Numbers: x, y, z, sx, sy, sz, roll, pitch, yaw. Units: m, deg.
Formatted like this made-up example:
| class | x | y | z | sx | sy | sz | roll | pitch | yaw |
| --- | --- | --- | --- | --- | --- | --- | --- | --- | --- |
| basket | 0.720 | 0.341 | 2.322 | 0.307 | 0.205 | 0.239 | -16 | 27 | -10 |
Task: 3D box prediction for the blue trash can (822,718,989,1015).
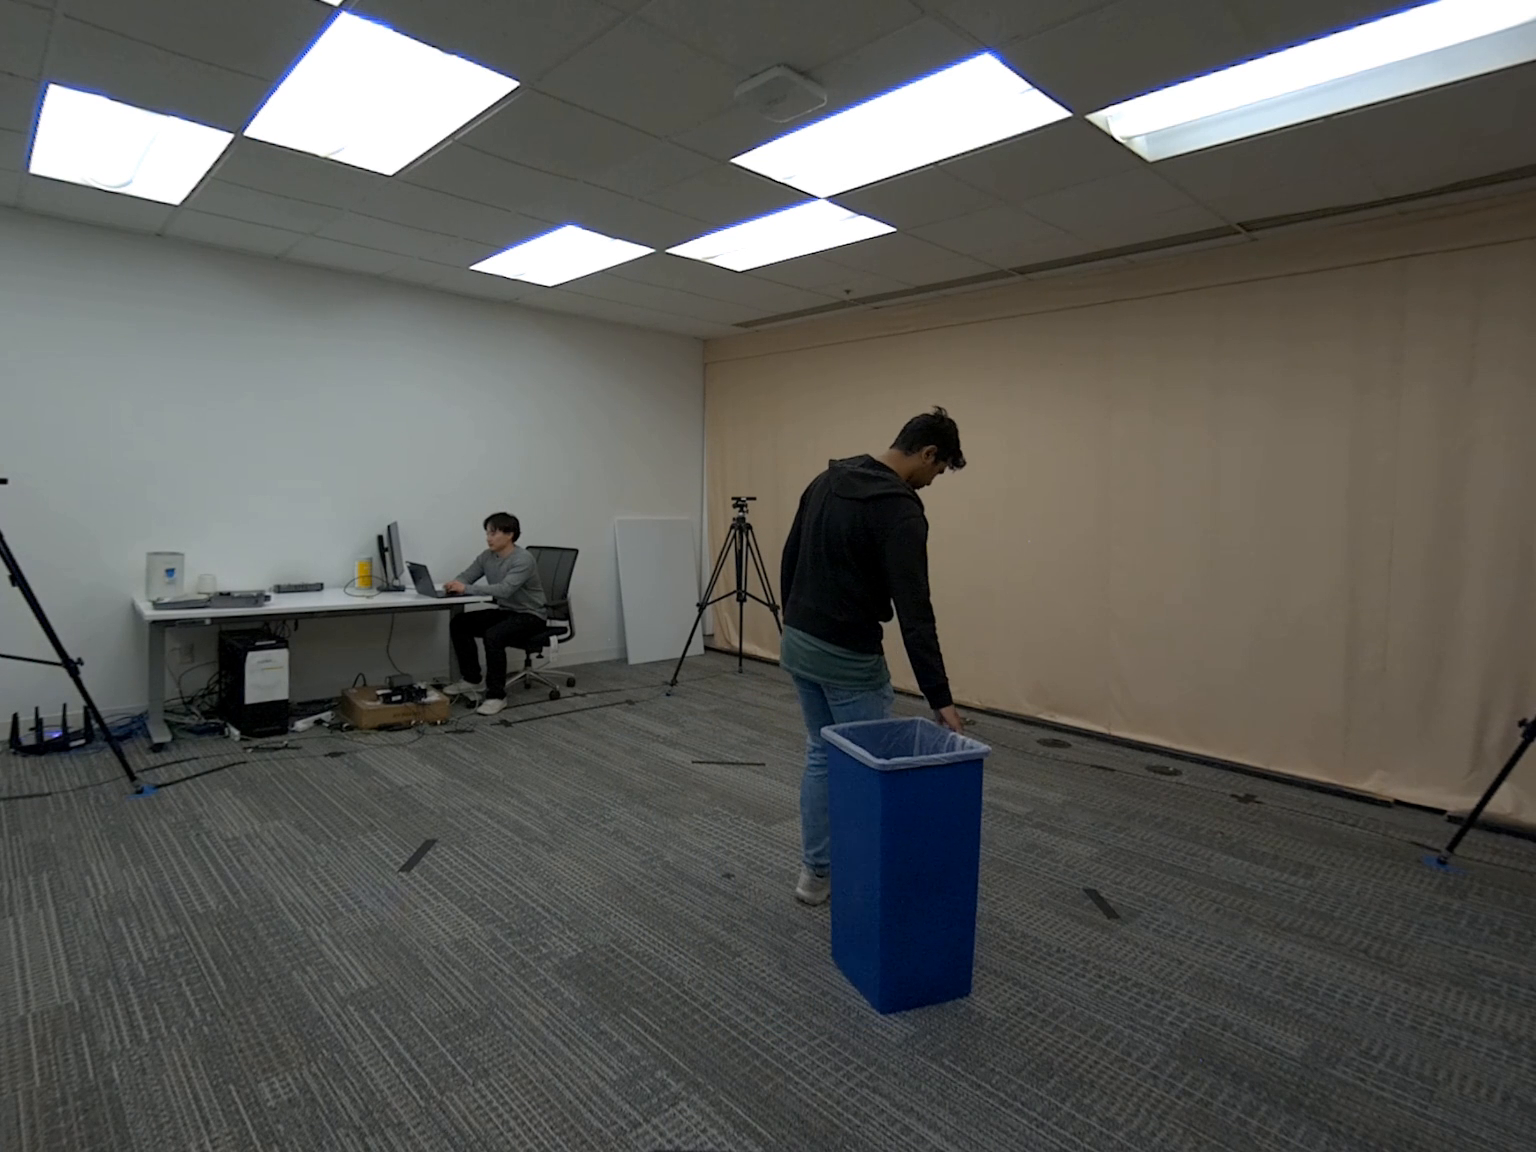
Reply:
| class | x | y | z | sx | sy | sz | roll | pitch | yaw |
| --- | --- | --- | --- | --- | --- | --- | --- | --- | --- |
| blue trash can | 0.373 | 0.822 | 2.450 | 0.372 | 0.711 | 0.381 | -1 | 4 | -23 |
